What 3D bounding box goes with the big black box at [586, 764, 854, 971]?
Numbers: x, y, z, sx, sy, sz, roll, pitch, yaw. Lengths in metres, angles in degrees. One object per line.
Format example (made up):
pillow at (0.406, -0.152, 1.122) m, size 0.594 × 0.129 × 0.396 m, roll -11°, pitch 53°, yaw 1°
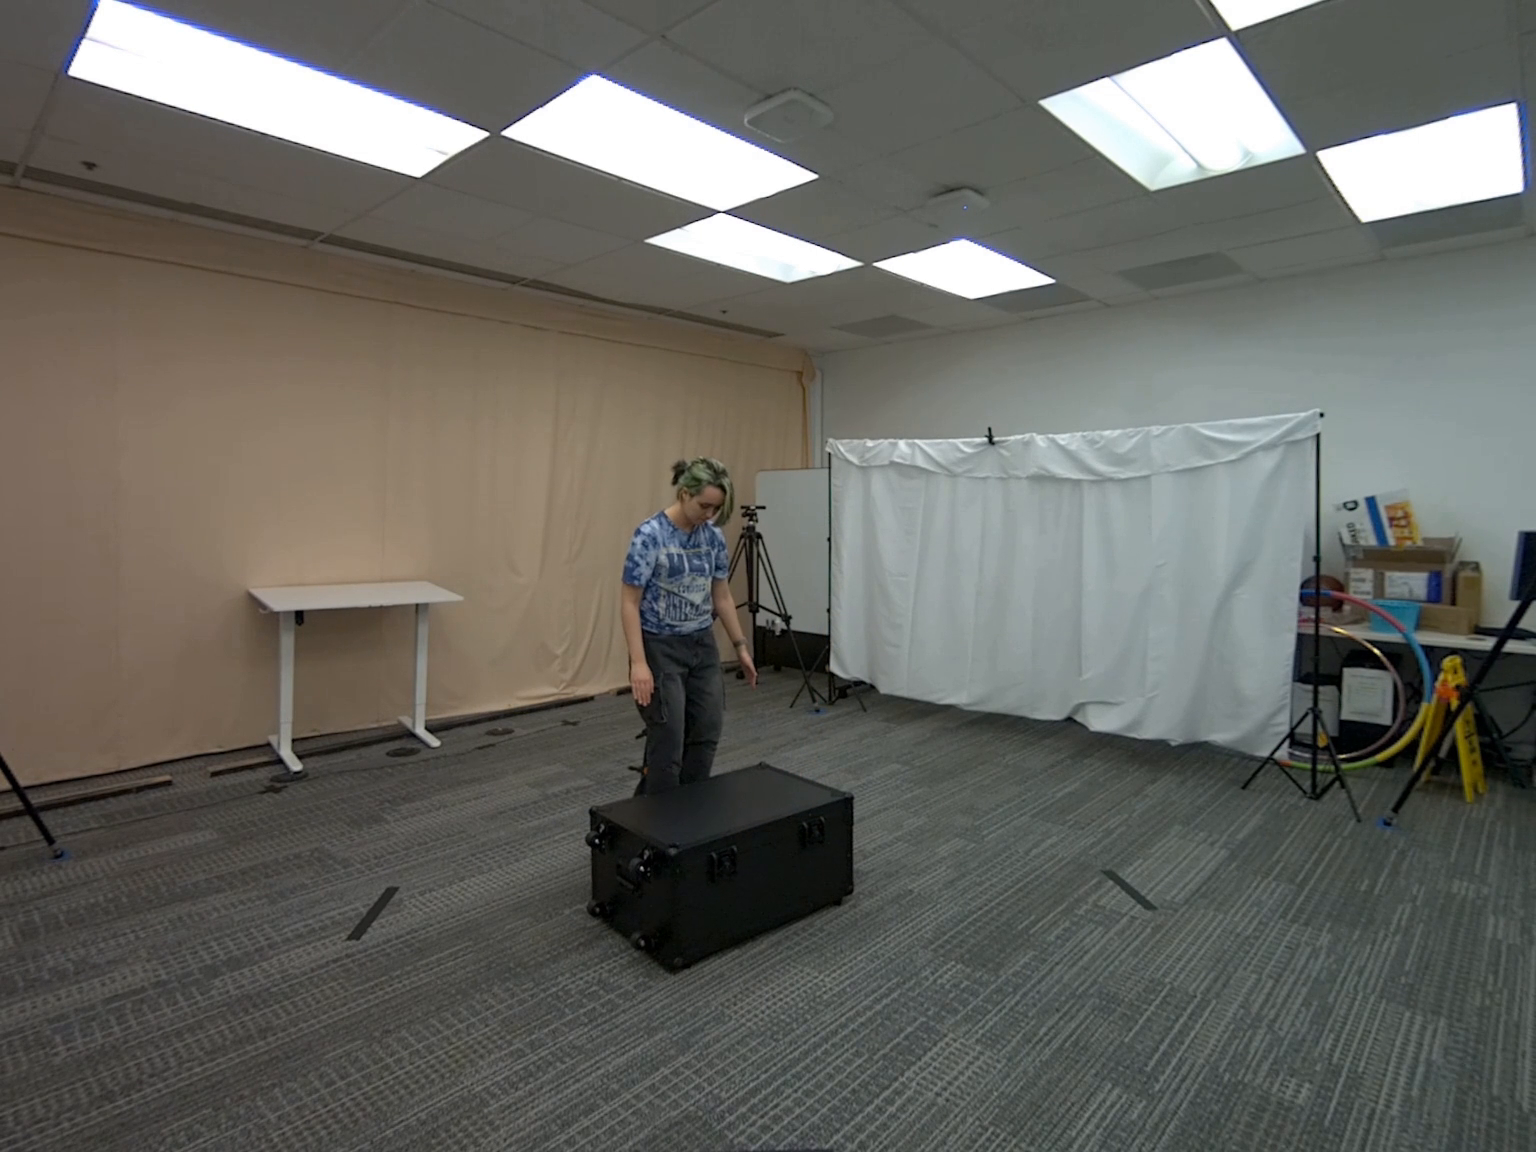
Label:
big black box at (-0.169, 0.964, 2.883) m, size 0.835 × 0.395 × 0.538 m, roll -3°, pitch 4°, yaw -40°
